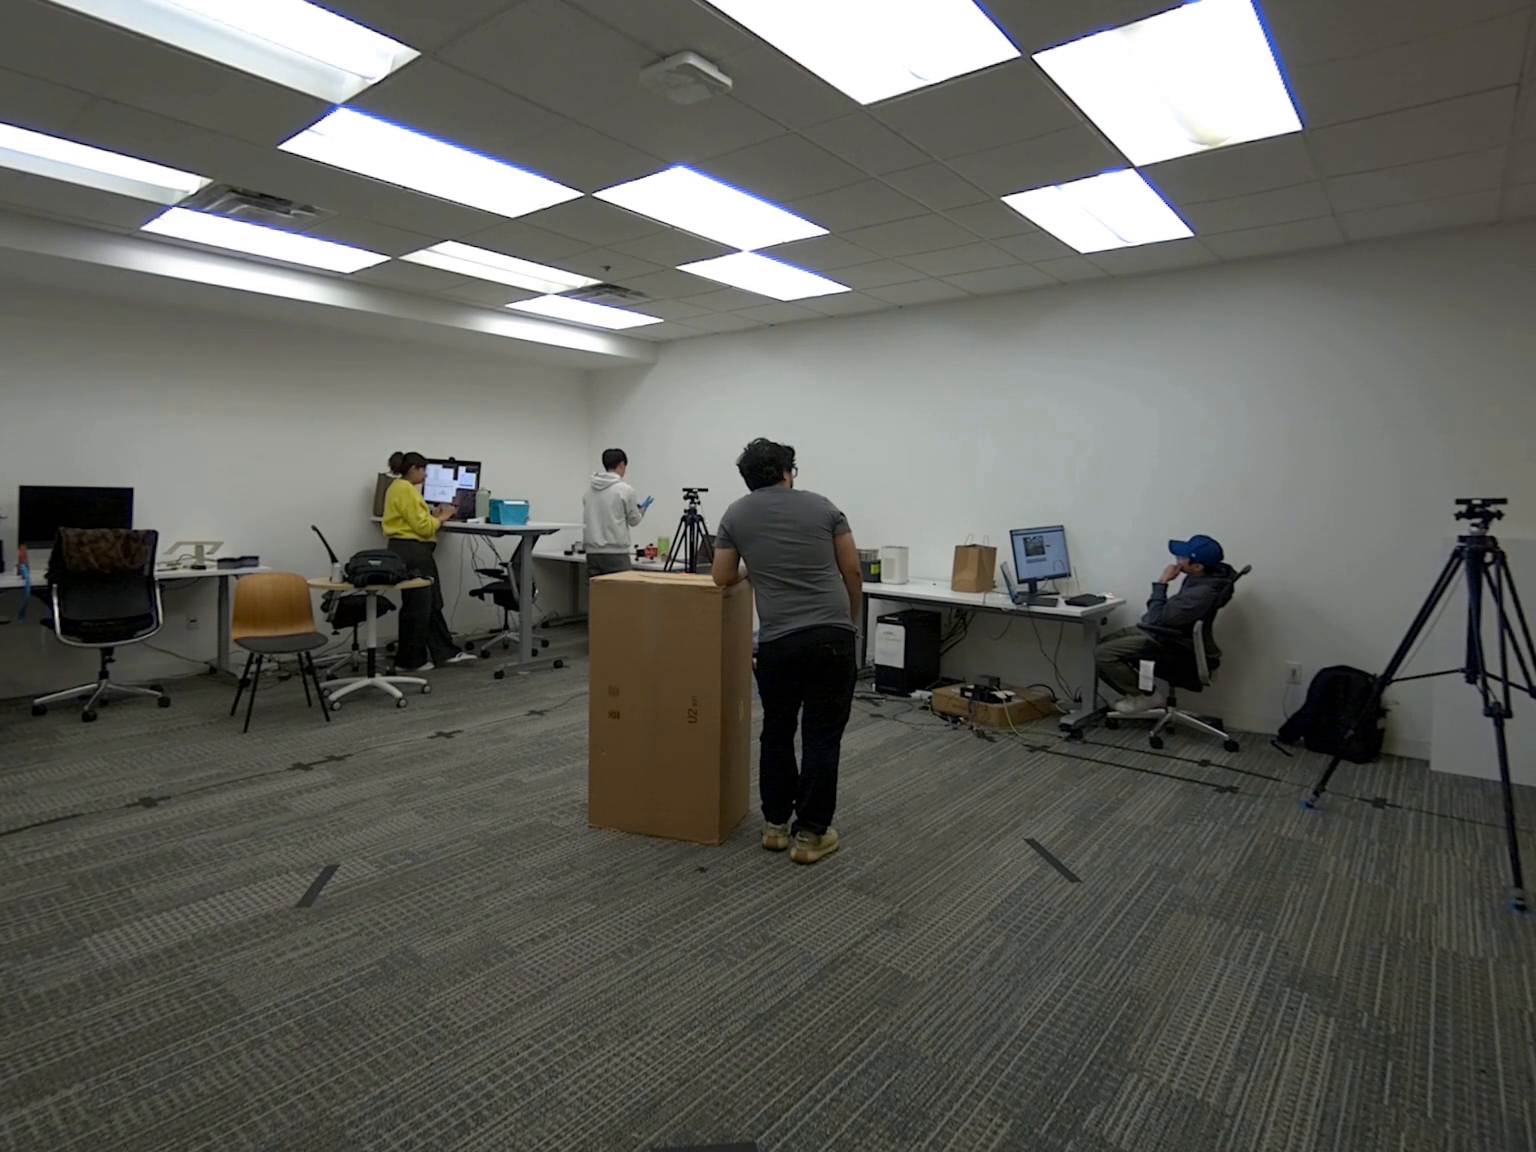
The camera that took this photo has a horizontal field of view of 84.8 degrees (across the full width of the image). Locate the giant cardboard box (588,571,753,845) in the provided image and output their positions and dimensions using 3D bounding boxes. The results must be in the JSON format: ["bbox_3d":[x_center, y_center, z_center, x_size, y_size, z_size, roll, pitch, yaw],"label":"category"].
[{"bbox_3d":[-0.418,0.512,3.586,0.589,1.023,0.418,2,3,19],"label":"giant cardboard box"}]
